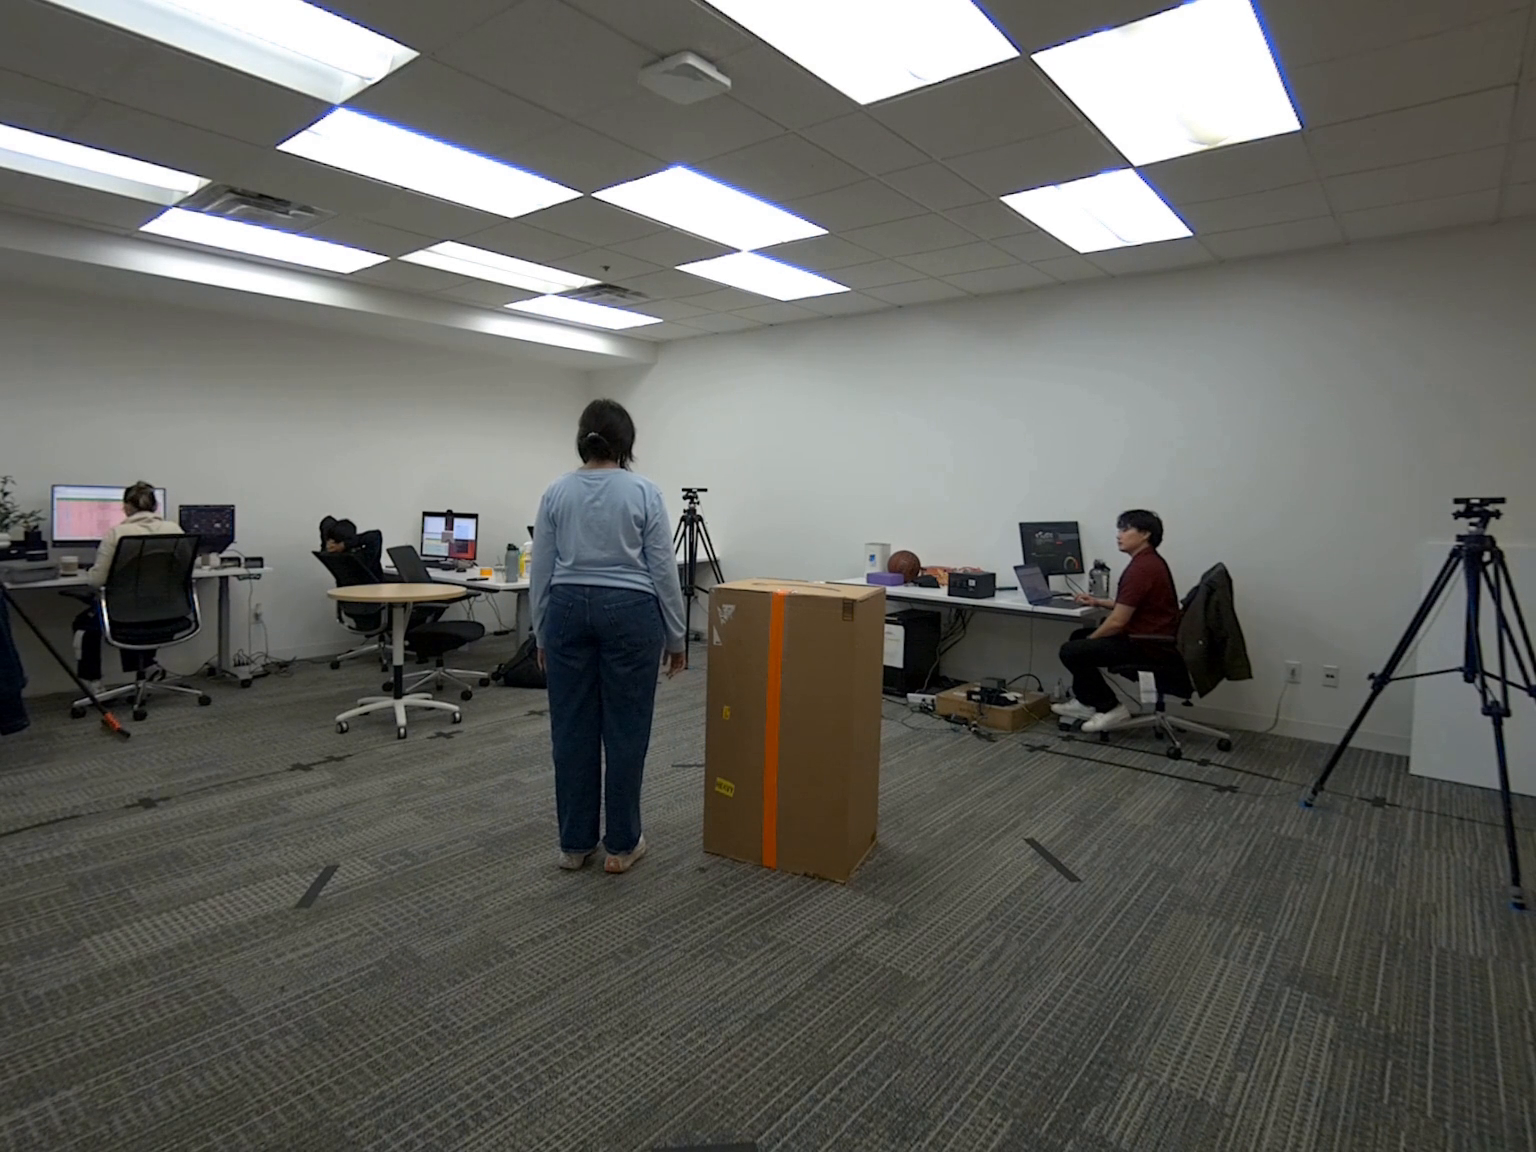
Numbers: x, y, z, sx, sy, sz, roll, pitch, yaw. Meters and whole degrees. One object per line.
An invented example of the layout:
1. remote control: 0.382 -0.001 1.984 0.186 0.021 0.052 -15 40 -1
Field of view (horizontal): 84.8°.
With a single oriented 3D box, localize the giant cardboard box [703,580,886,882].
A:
1. giant cardboard box: 0.099 0.549 3.293 0.599 1.024 0.436 3 3 25
